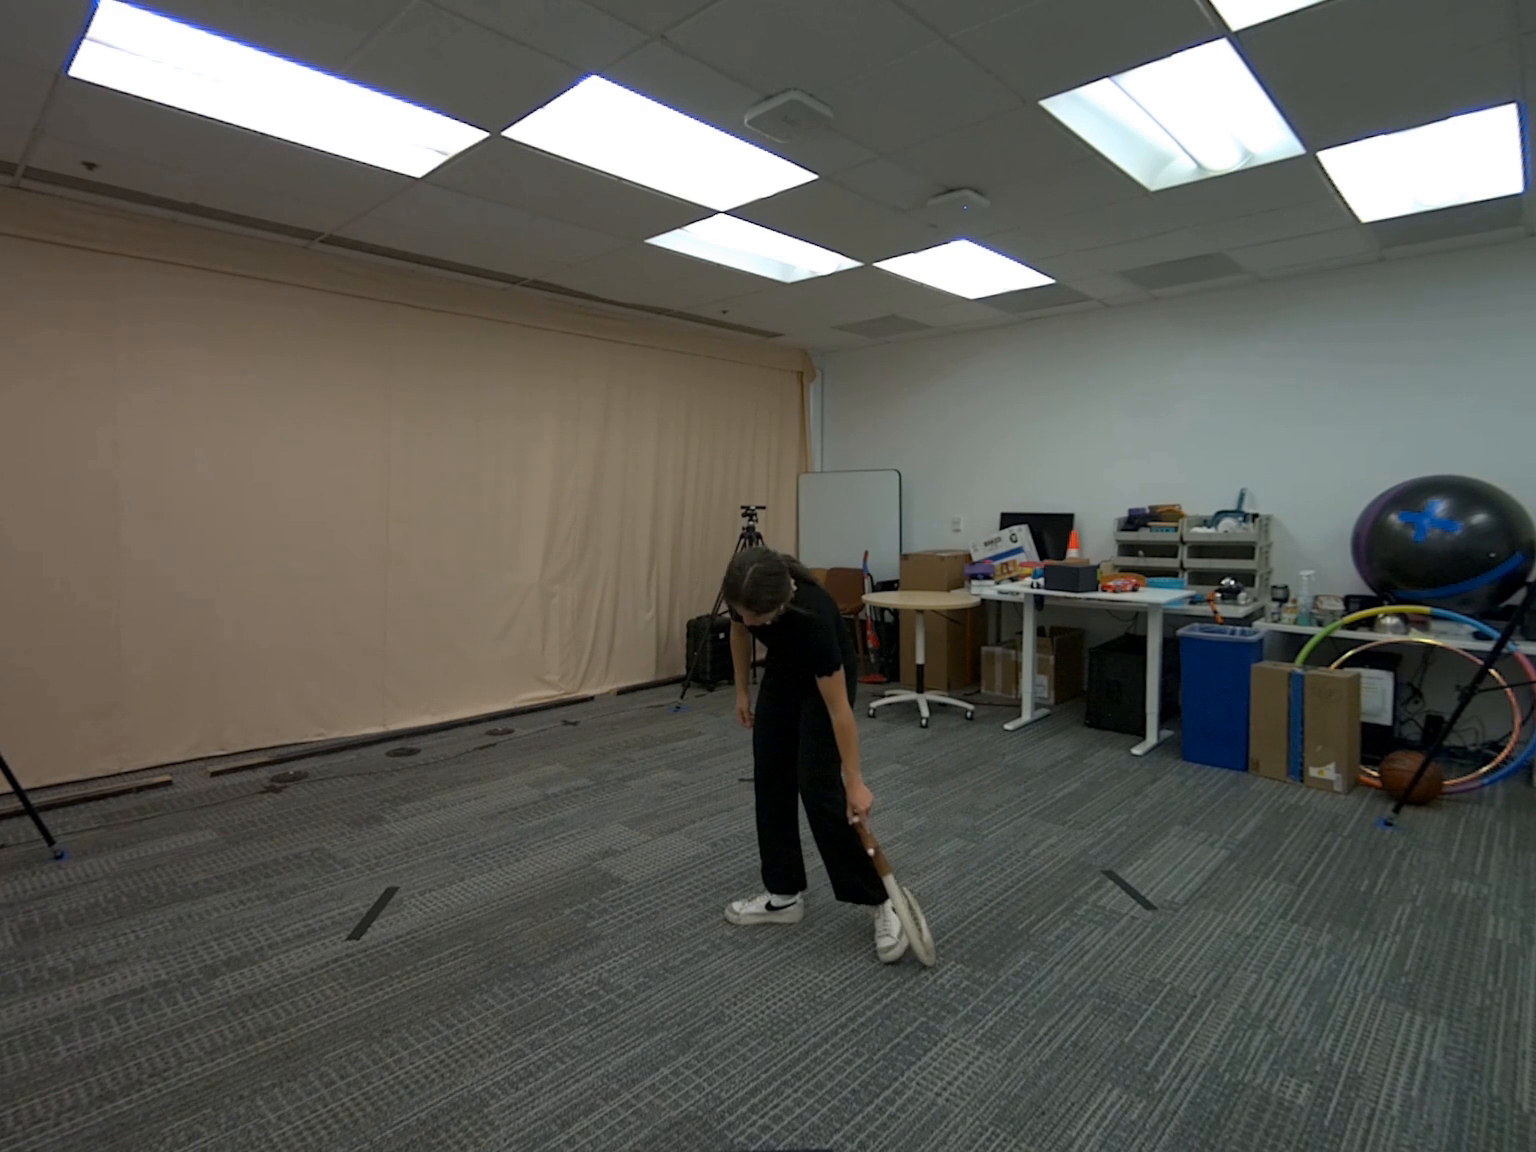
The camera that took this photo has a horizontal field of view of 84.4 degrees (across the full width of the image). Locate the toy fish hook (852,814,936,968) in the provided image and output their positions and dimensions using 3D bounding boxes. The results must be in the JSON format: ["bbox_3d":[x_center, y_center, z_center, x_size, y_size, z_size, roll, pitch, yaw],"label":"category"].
[{"bbox_3d":[0.395,0.951,2.597,0.049,0.507,0.223,-26,0,10],"label":"toy fish hook"}]
